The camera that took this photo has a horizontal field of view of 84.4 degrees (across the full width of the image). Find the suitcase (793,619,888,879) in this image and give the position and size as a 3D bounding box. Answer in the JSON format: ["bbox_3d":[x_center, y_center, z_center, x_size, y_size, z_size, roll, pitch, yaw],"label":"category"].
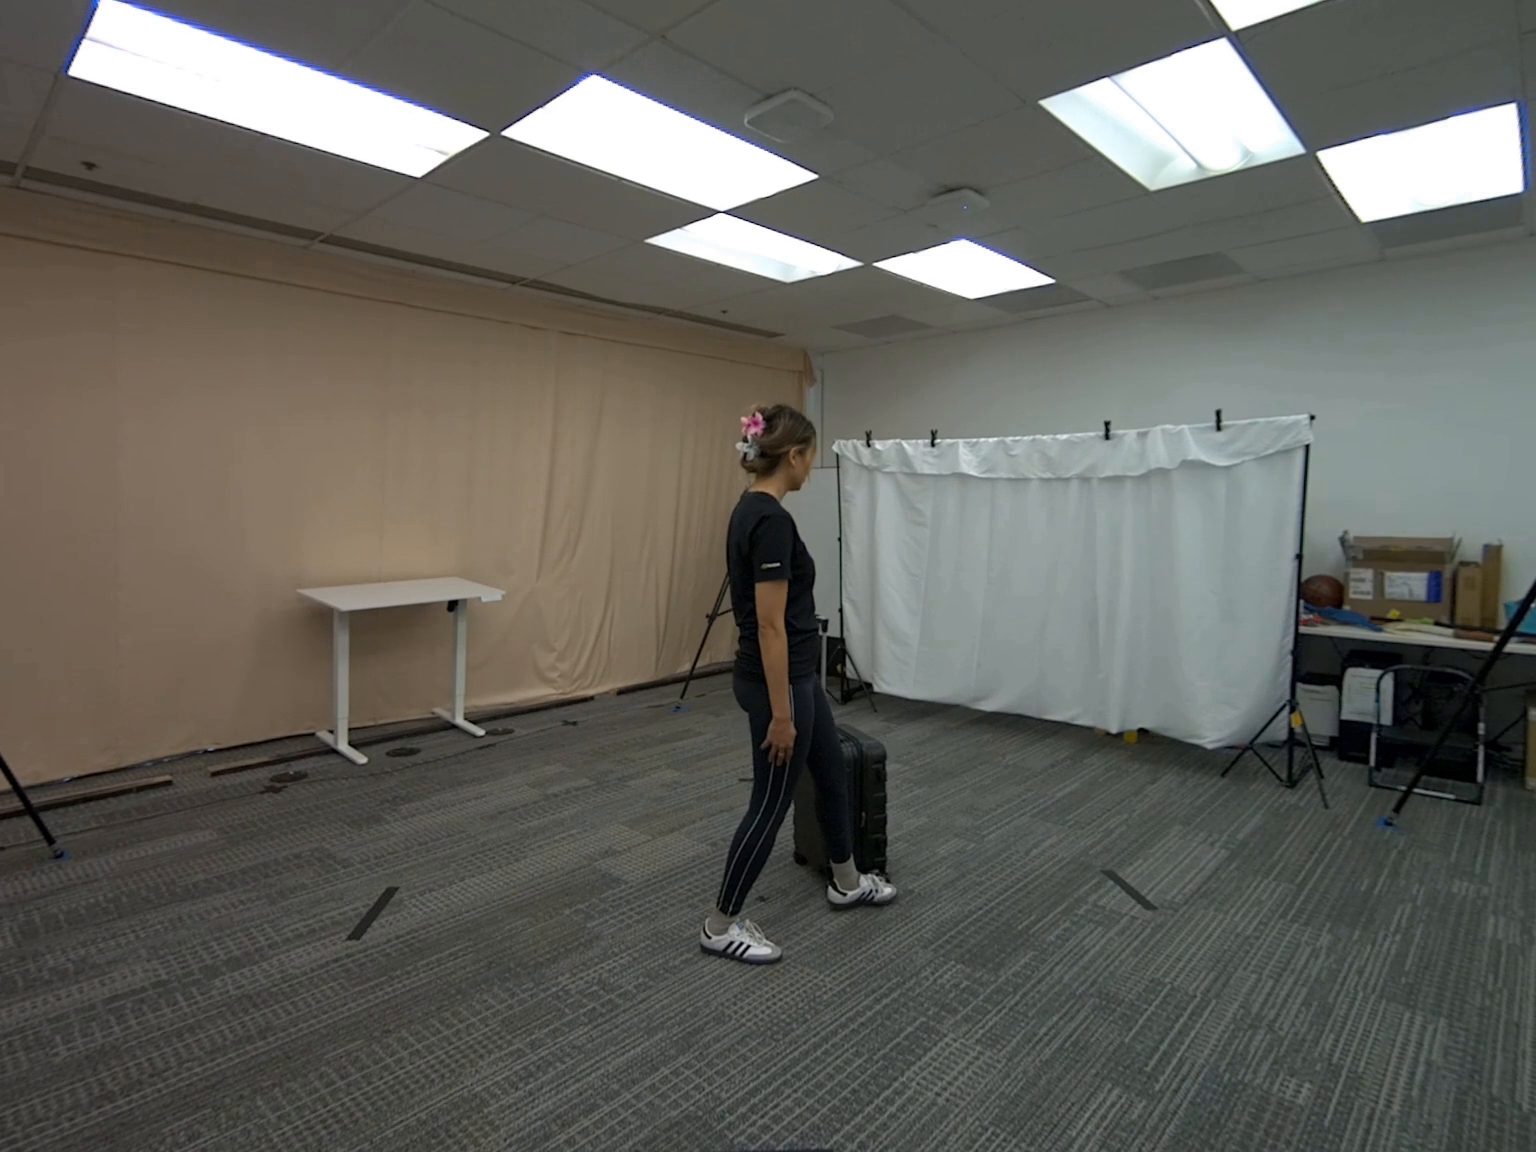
[{"bbox_3d":[0.281,0.646,3.173,0.252,0.976,0.392,-1,3,-18],"label":"suitcase"}]
